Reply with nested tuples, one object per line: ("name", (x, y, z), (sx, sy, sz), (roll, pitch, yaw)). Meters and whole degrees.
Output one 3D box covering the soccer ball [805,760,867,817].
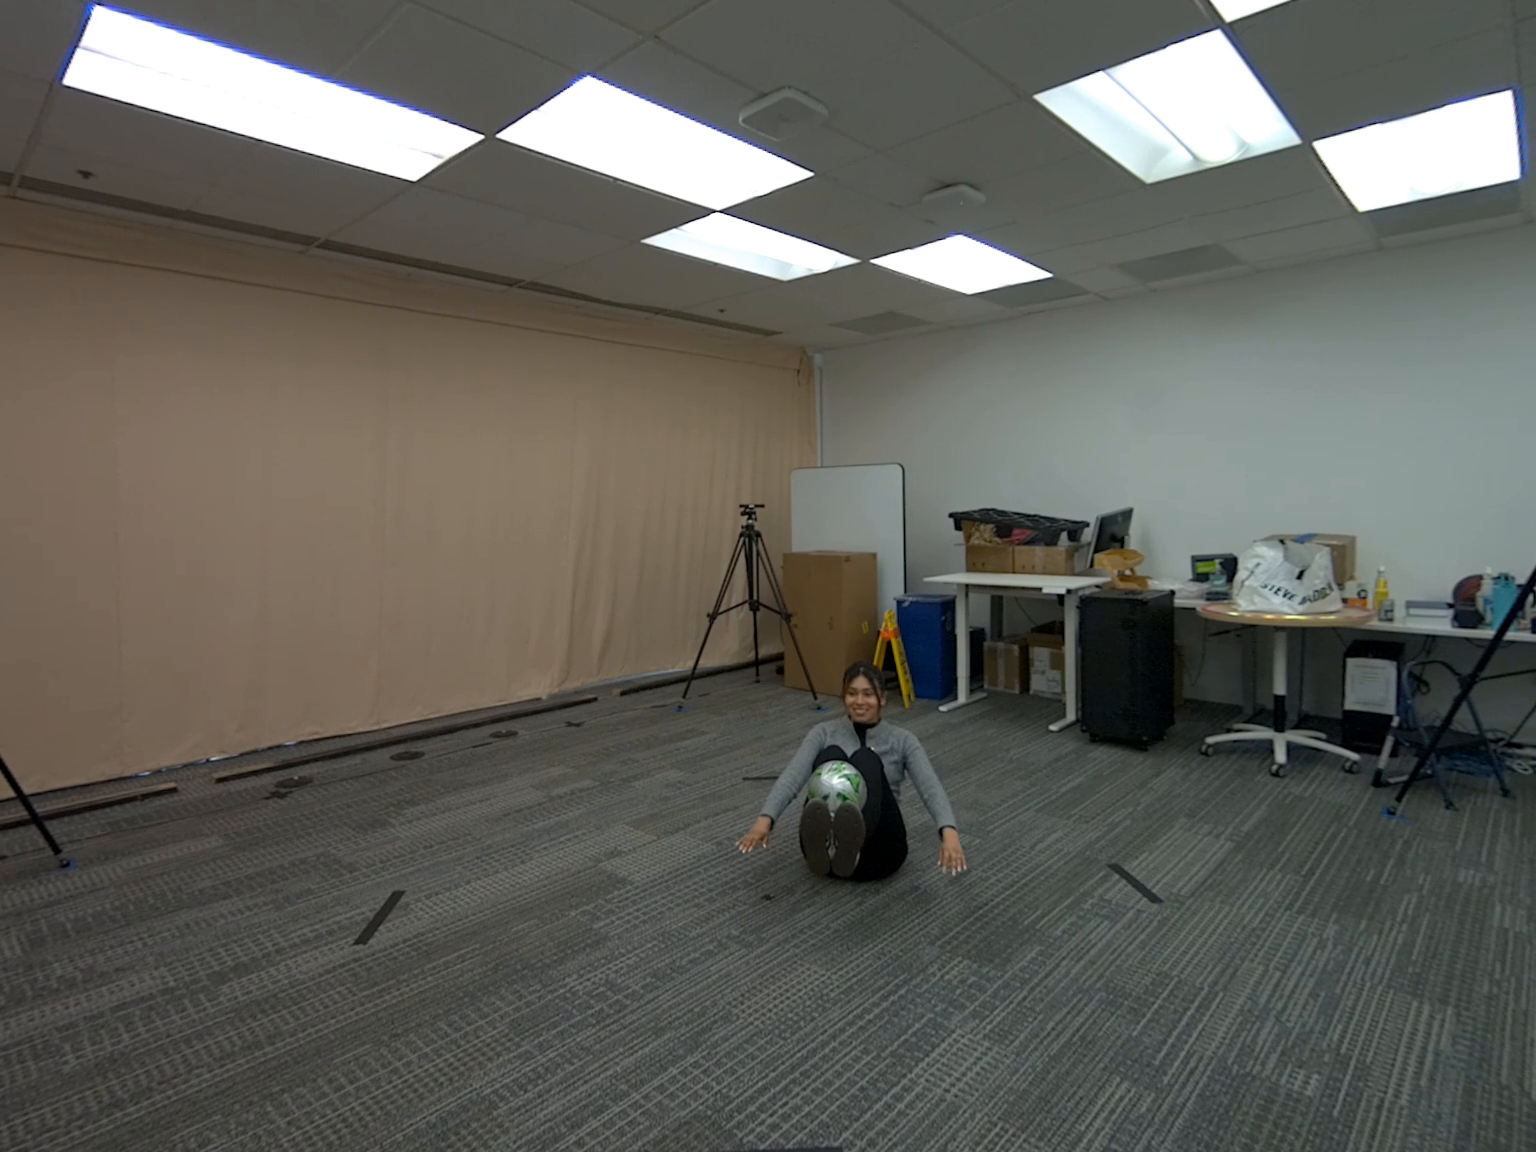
("soccer ball", (0.223, 0.686, 2.658), (0.187, 0.187, 0.188), (-1, 4, -2))
